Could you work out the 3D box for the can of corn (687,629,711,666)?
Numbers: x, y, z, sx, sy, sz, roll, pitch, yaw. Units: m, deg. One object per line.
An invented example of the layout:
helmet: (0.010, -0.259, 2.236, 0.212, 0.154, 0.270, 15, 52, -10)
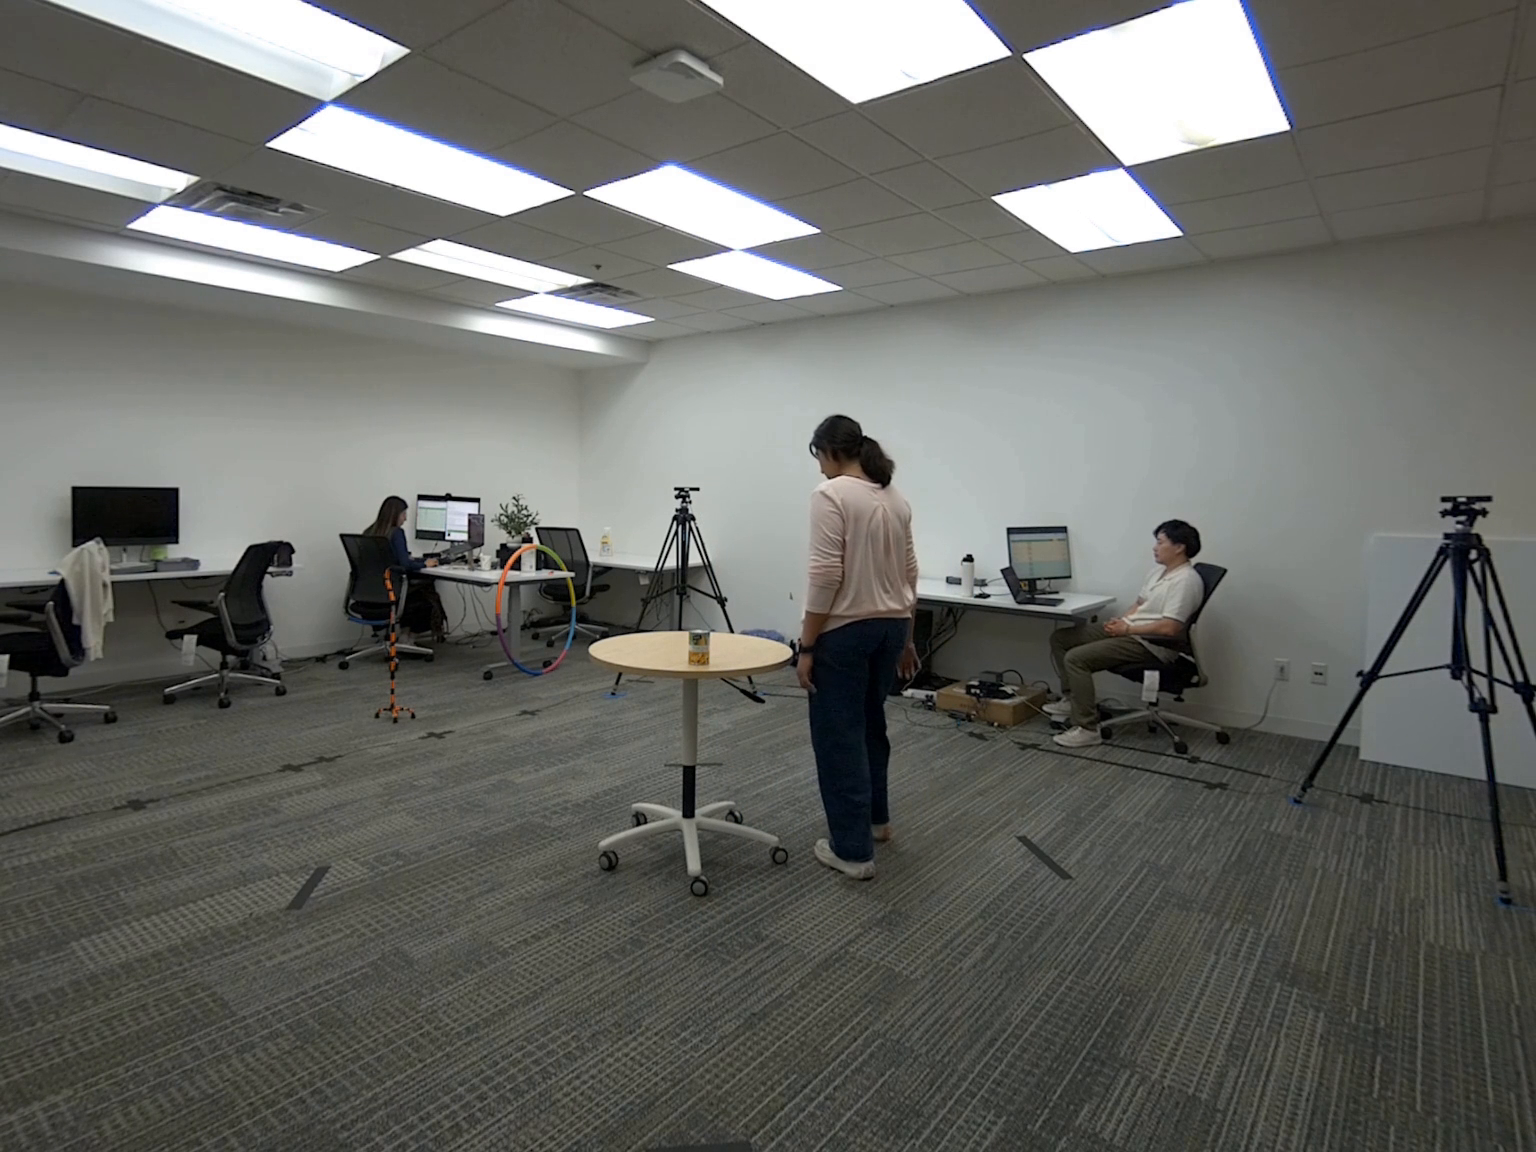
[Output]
can of corn: (-0.250, 0.247, 2.946, 0.074, 0.110, 0.075, 4, 6, -2)
